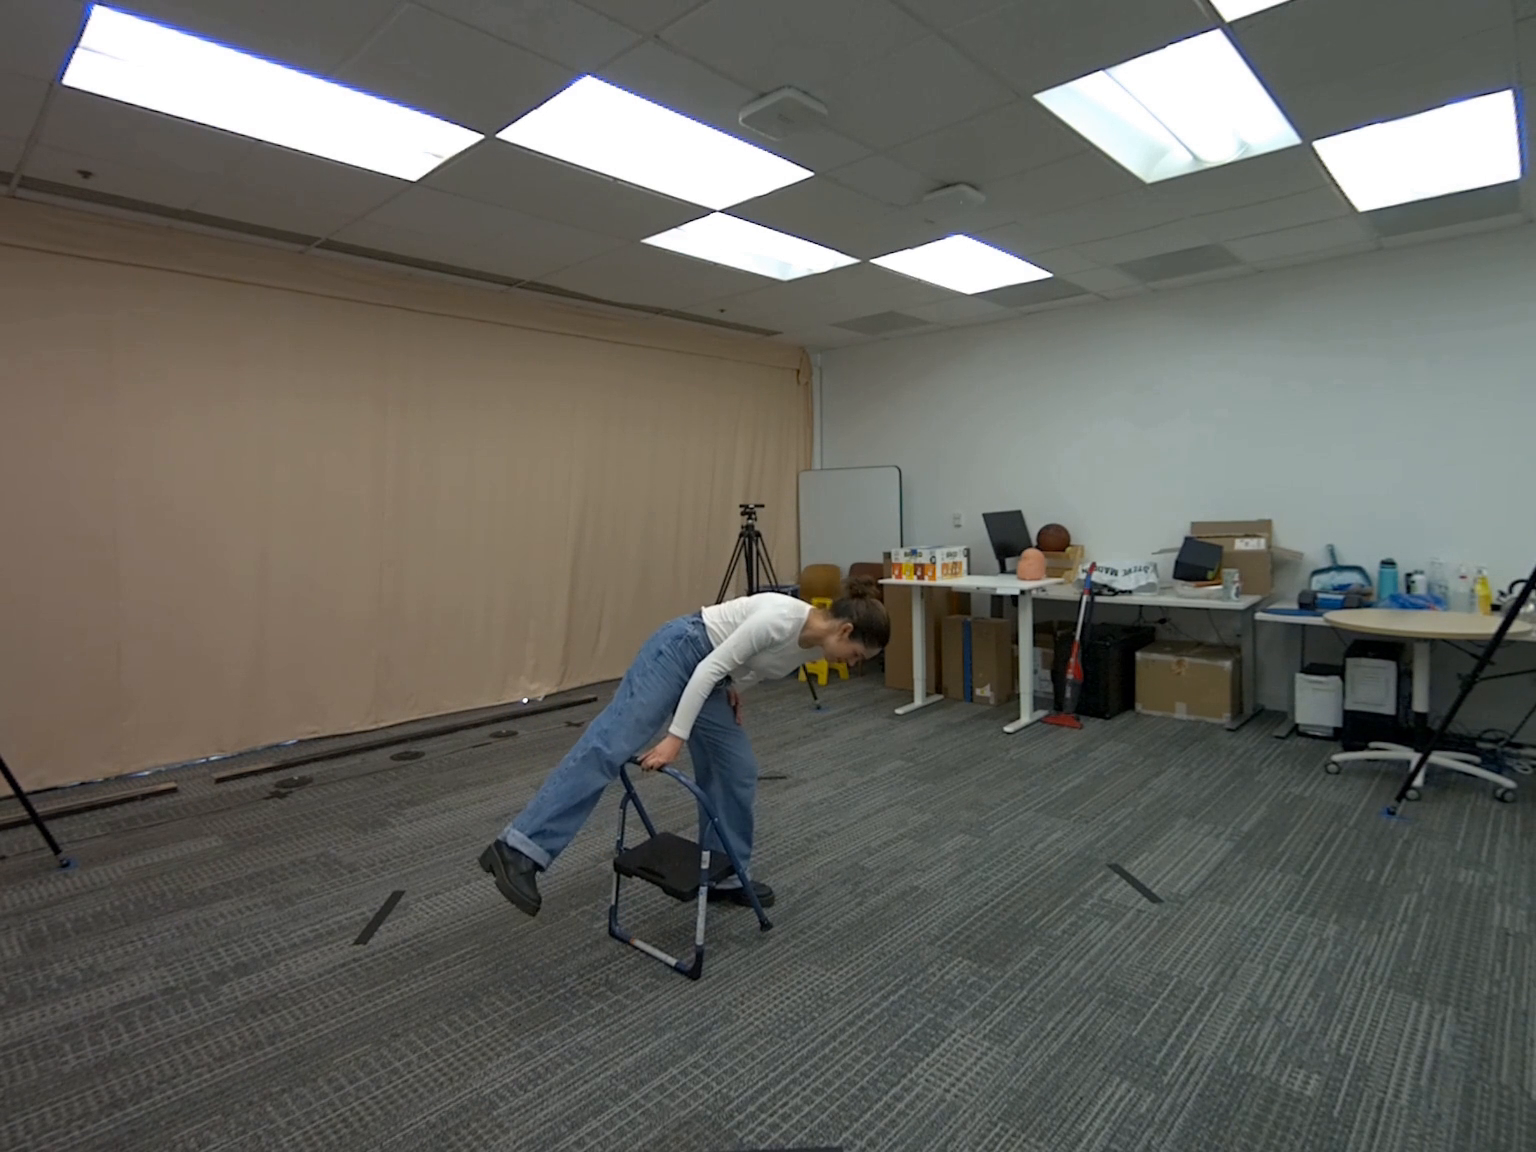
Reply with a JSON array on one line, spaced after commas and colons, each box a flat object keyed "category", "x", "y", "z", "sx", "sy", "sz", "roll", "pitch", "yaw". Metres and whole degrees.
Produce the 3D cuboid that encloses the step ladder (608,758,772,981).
[{"category": "step ladder", "x": -0.285, "y": 0.856, "z": 2.685, "sx": 0.445, "sy": 0.603, "sz": 0.340, "roll": 1, "pitch": 10, "yaw": 42}]
